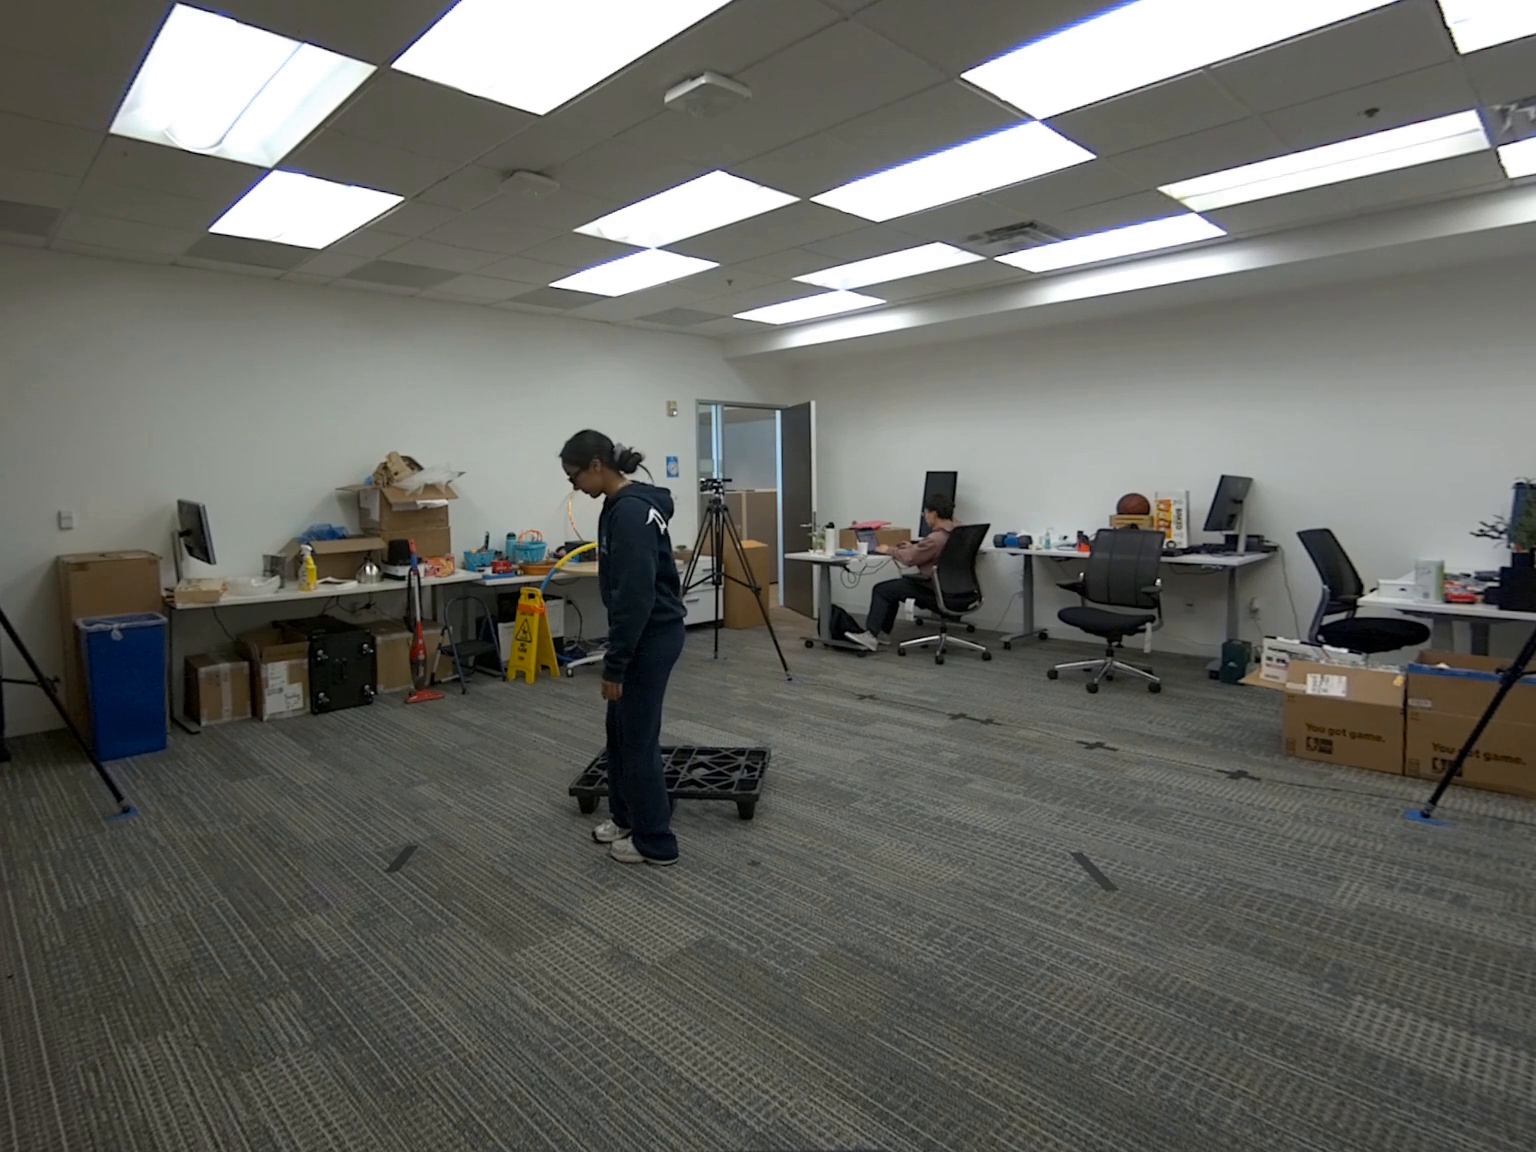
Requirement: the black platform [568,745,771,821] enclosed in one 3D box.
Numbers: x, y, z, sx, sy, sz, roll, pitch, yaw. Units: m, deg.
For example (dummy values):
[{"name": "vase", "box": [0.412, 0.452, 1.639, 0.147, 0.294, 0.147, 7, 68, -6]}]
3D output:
[{"name": "black platform", "box": [-0.405, 0.906, 3.787, 0.812, 0.143, 0.603, 0, 5, 7]}]
